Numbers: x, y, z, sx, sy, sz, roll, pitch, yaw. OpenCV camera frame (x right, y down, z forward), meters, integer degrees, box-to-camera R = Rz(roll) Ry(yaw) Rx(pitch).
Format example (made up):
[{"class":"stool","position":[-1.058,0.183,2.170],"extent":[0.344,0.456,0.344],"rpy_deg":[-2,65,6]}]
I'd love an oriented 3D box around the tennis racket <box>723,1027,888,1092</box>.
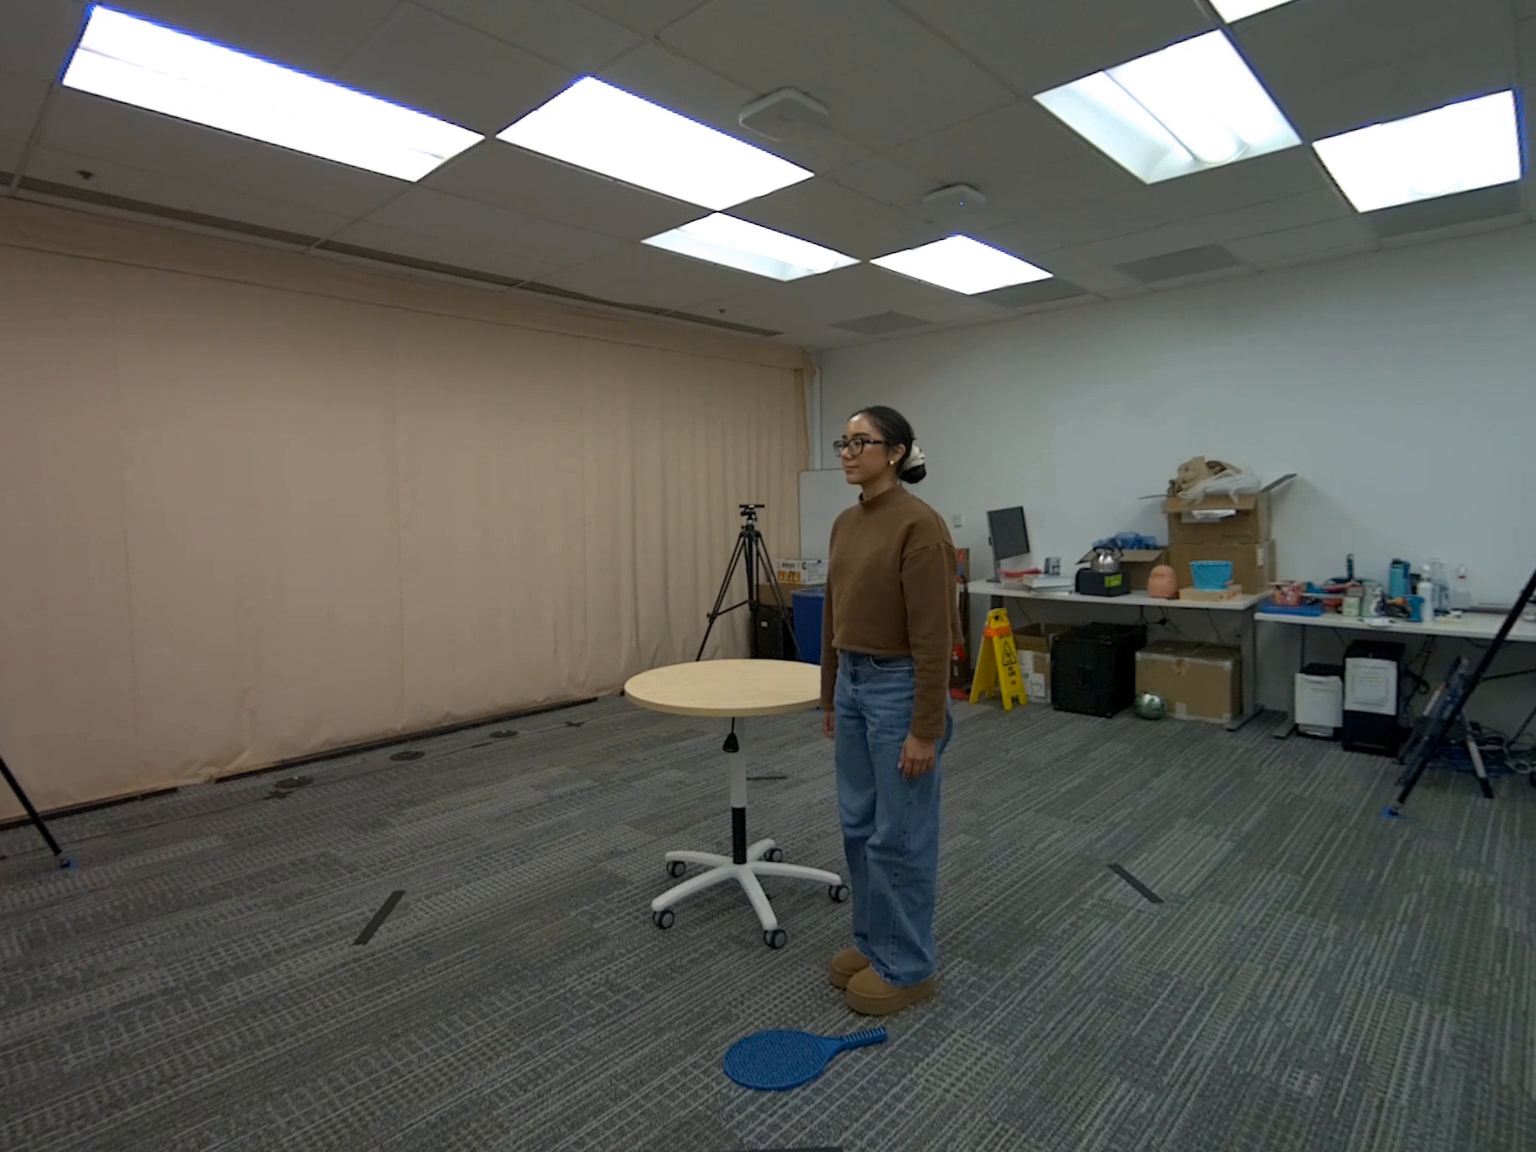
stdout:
[{"class":"tennis racket","position":[0.102,1.191,2.135],"extent":[0.425,0.031,0.218],"rpy_deg":[-4,6,-18]}]
